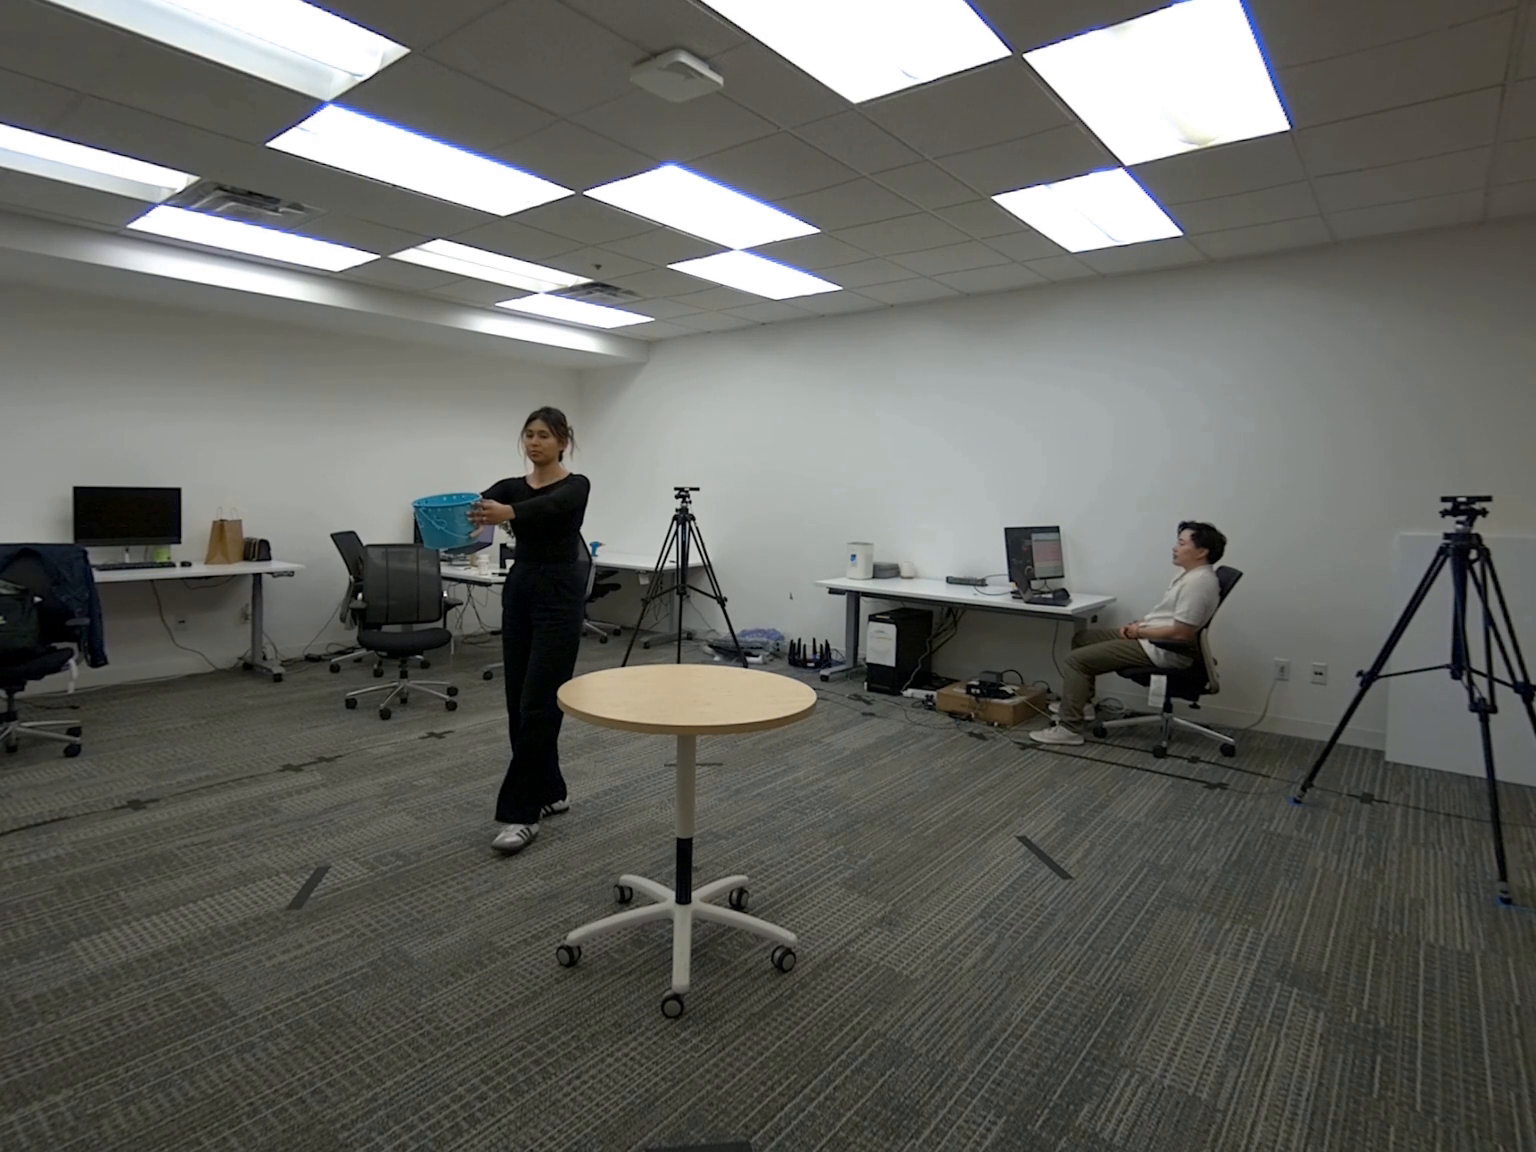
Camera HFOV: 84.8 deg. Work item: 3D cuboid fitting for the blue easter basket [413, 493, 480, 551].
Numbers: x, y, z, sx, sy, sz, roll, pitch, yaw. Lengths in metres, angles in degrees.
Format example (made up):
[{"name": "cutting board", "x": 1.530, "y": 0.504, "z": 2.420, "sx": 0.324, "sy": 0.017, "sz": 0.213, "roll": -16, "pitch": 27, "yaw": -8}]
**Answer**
[{"name": "blue easter basket", "x": -1.114, "y": -0.193, "z": 2.913, "sx": 0.243, "sy": 0.154, "sz": 0.247, "roll": -2, "pitch": 13, "yaw": -1}]
